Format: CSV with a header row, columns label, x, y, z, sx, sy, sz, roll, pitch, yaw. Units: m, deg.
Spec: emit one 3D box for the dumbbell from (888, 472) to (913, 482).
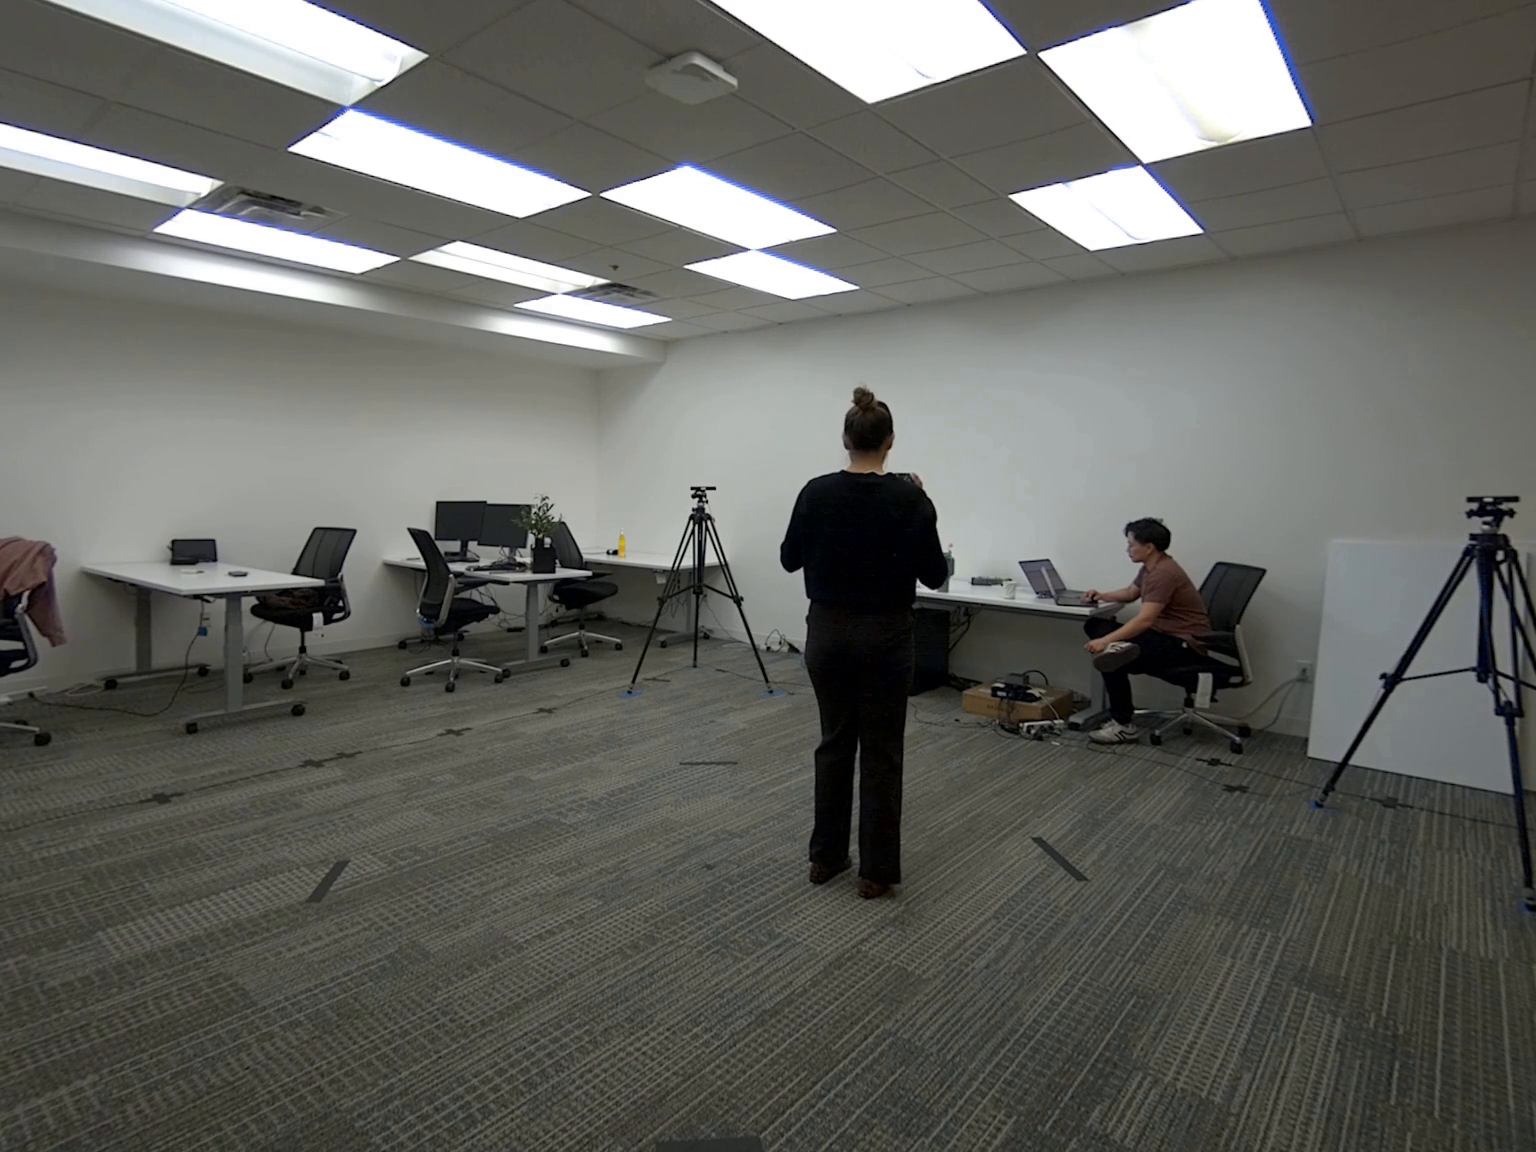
label,x,y,z,sx,sy,sz,roll,pitch,yaw
dumbbell,0.366,-0.311,3.063,0.300,0.105,0.124,3,33,21
